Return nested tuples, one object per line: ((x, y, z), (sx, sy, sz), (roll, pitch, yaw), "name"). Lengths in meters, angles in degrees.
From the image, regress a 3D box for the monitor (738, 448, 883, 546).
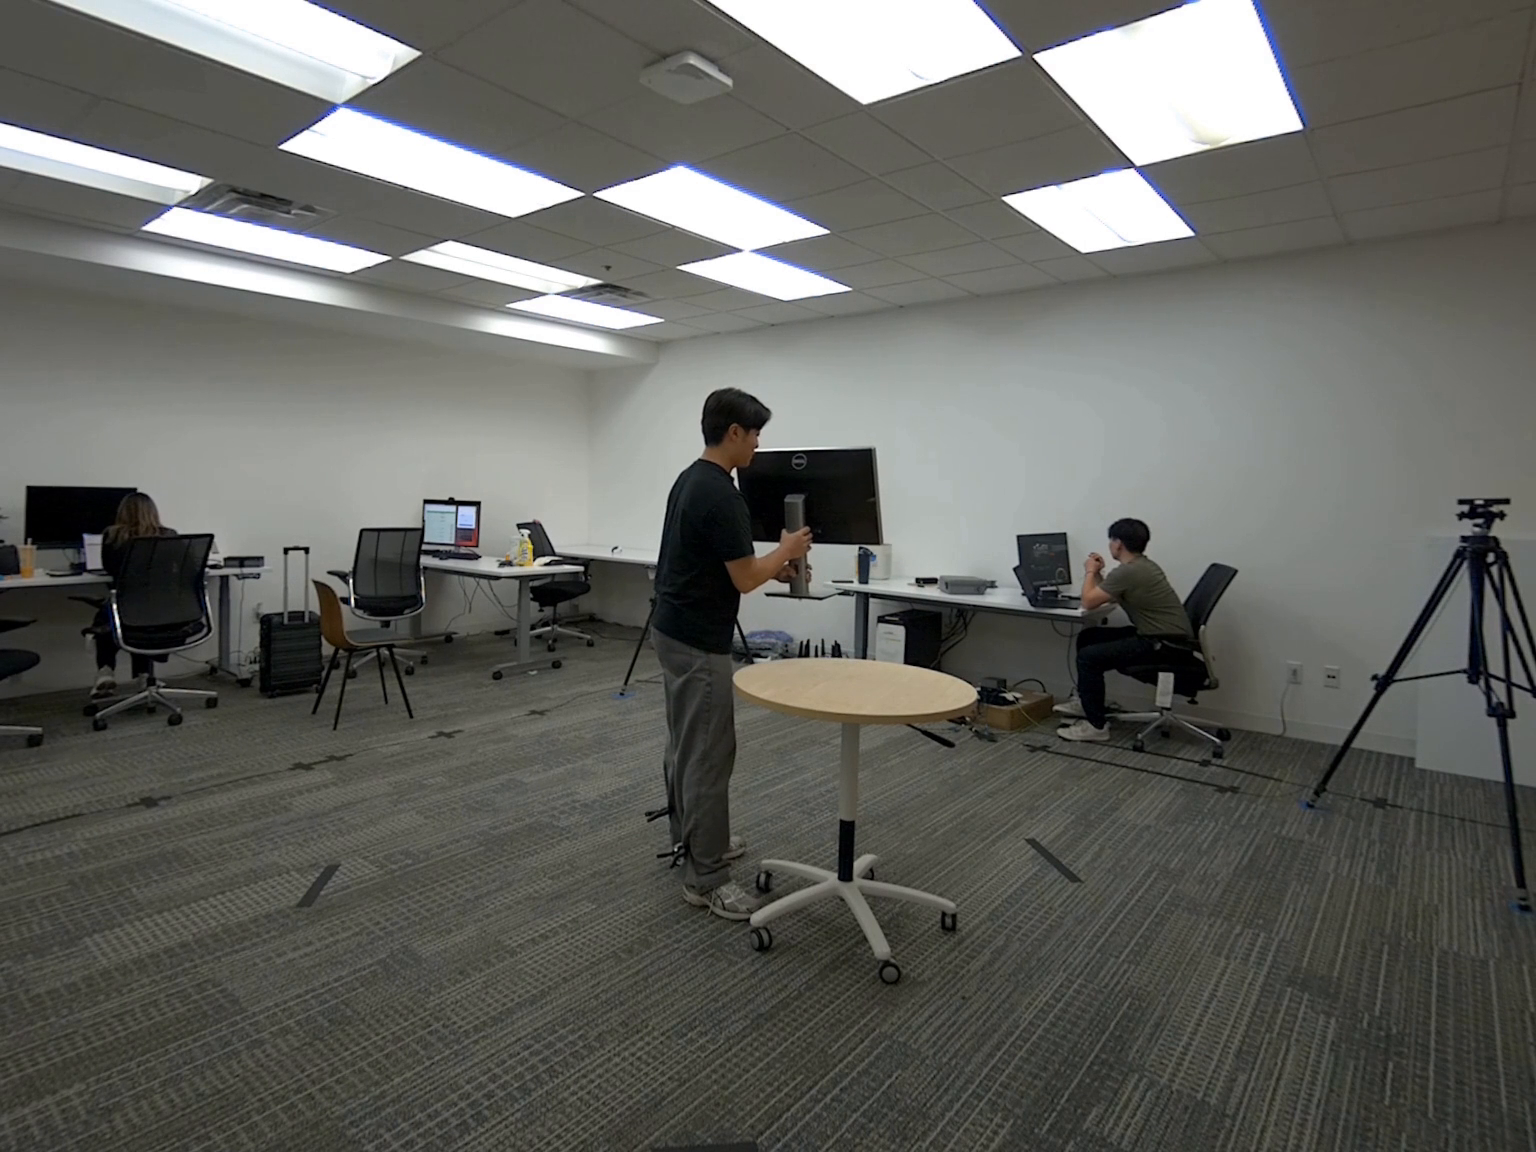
((0.122, -0.192, 3.141), (0.579, 0.564, 0.216), (3, 3, 31), "monitor")
